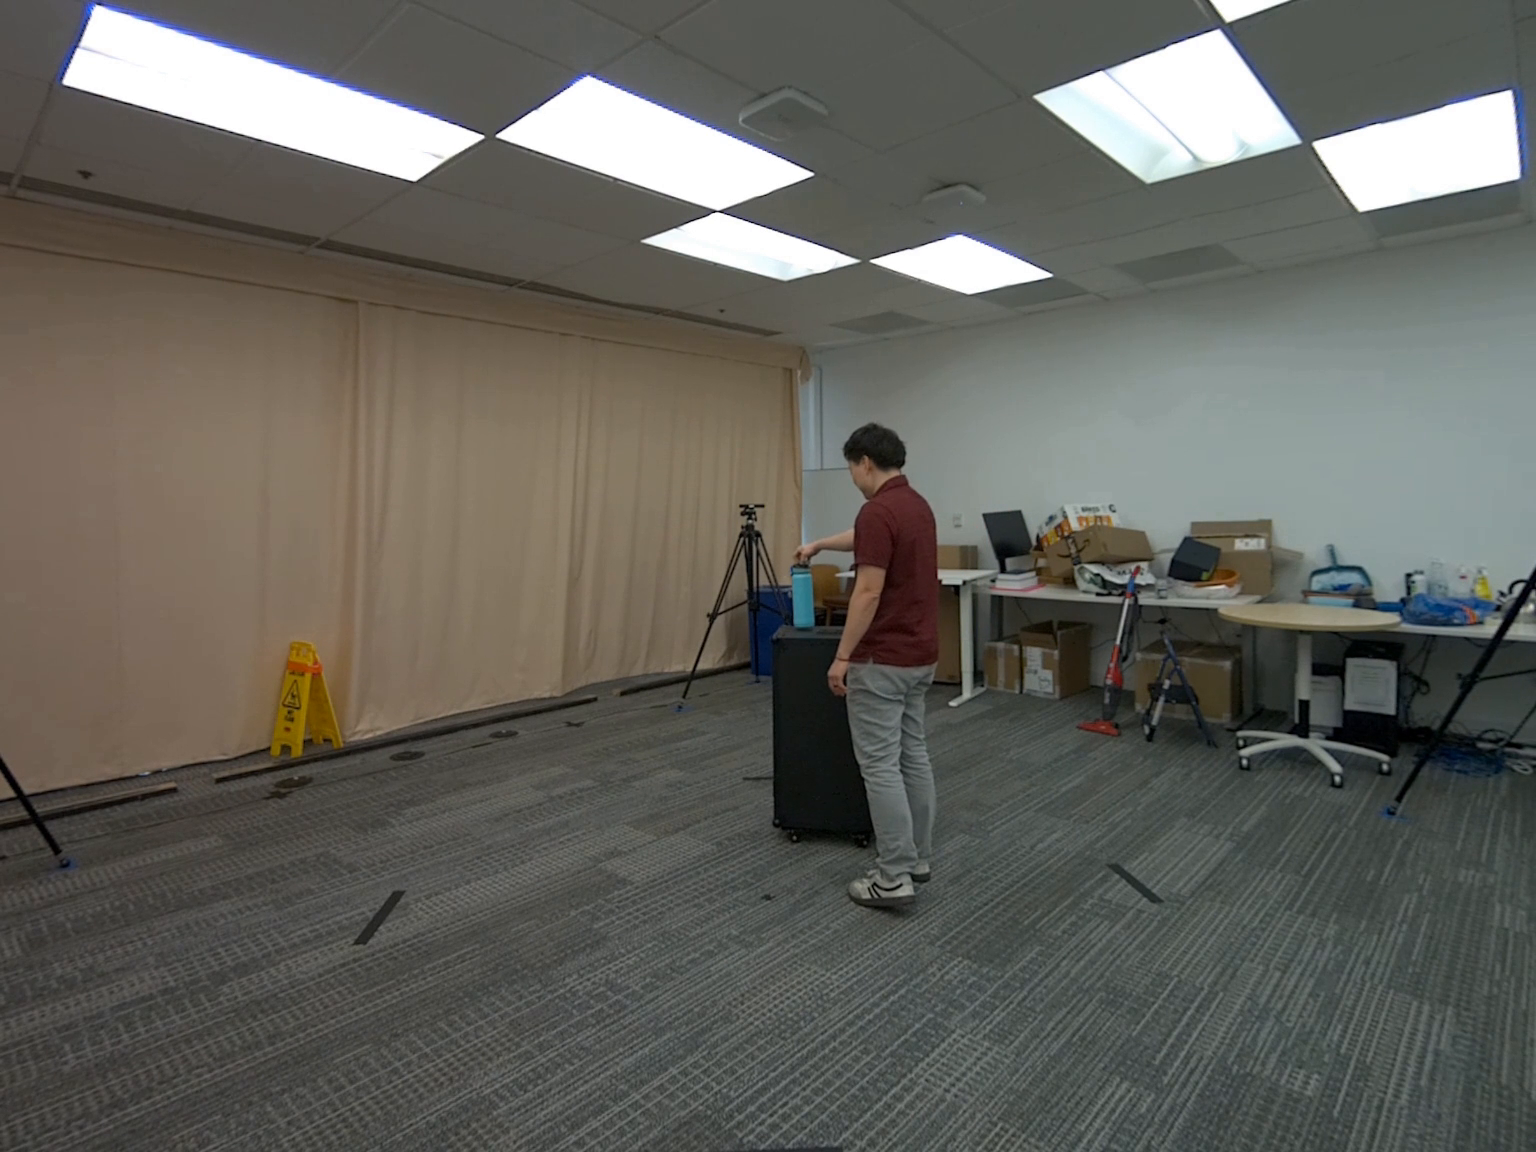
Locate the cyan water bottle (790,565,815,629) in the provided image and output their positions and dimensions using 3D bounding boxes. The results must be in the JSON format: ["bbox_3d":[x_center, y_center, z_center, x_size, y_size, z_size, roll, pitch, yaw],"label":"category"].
[{"bbox_3d":[0.153,0.076,3.671,0.092,0.283,0.092,-4,1,-2],"label":"cyan water bottle"}]
